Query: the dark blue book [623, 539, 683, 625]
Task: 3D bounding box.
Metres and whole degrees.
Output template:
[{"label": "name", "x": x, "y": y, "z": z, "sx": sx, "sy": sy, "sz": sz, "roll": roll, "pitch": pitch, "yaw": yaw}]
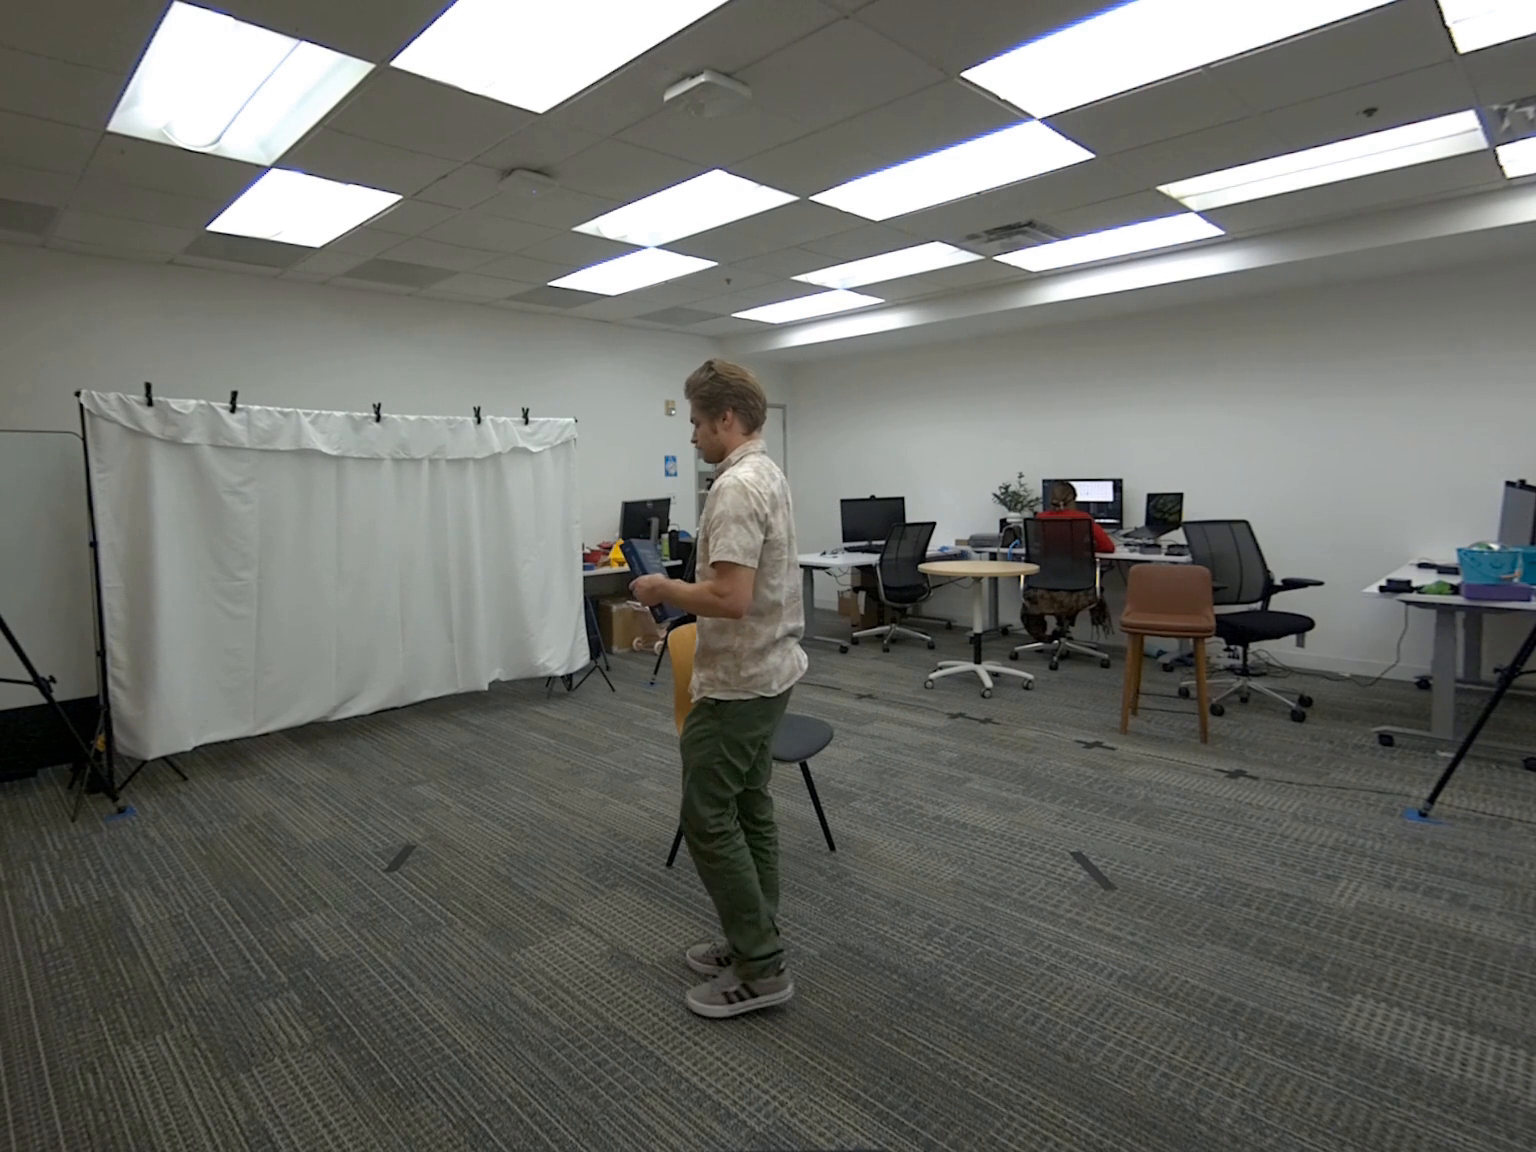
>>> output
[{"label": "dark blue book", "x": -0.315, "y": 0.012, "z": 2.409, "sx": 0.045, "sy": 0.248, "sz": 0.161, "roll": -30, "pitch": -8, "yaw": 13}]
